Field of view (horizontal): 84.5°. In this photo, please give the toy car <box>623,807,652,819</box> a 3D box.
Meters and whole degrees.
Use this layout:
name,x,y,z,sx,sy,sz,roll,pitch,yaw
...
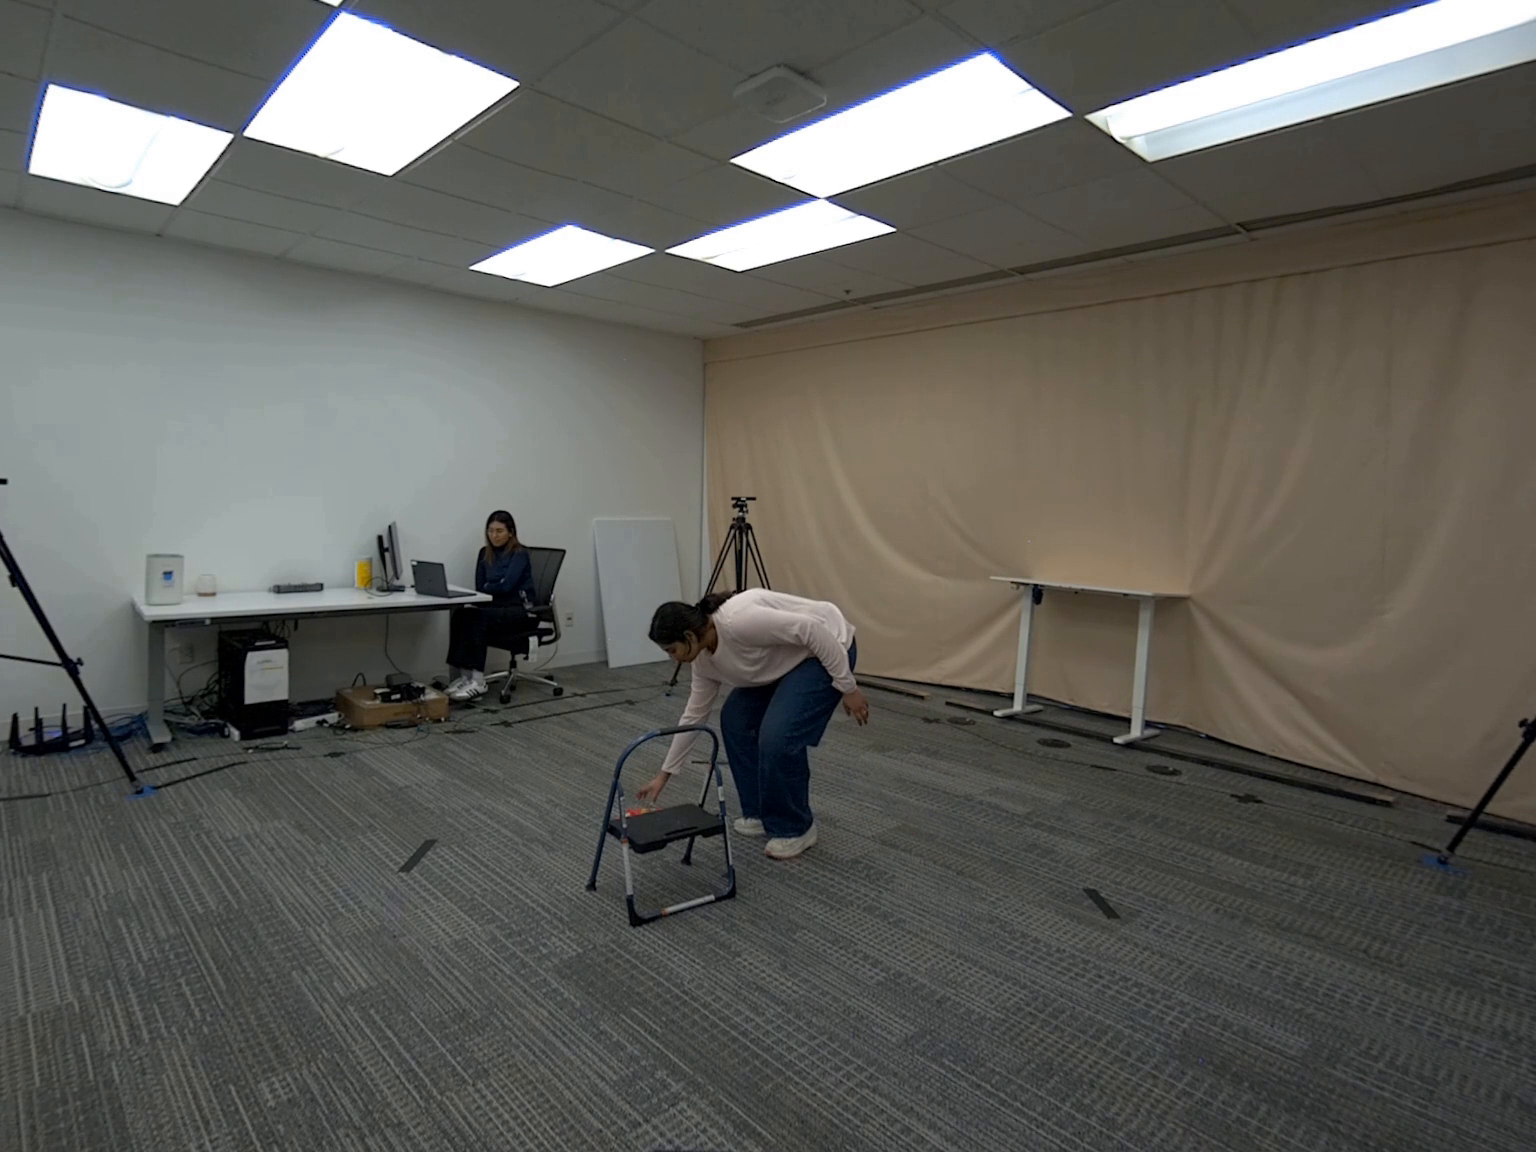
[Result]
name,x,y,z,sx,sy,sz,roll,pitch,yaw
toy car,-0.527,1.021,3.537,0.248,0.083,0.133,13,-5,-38
